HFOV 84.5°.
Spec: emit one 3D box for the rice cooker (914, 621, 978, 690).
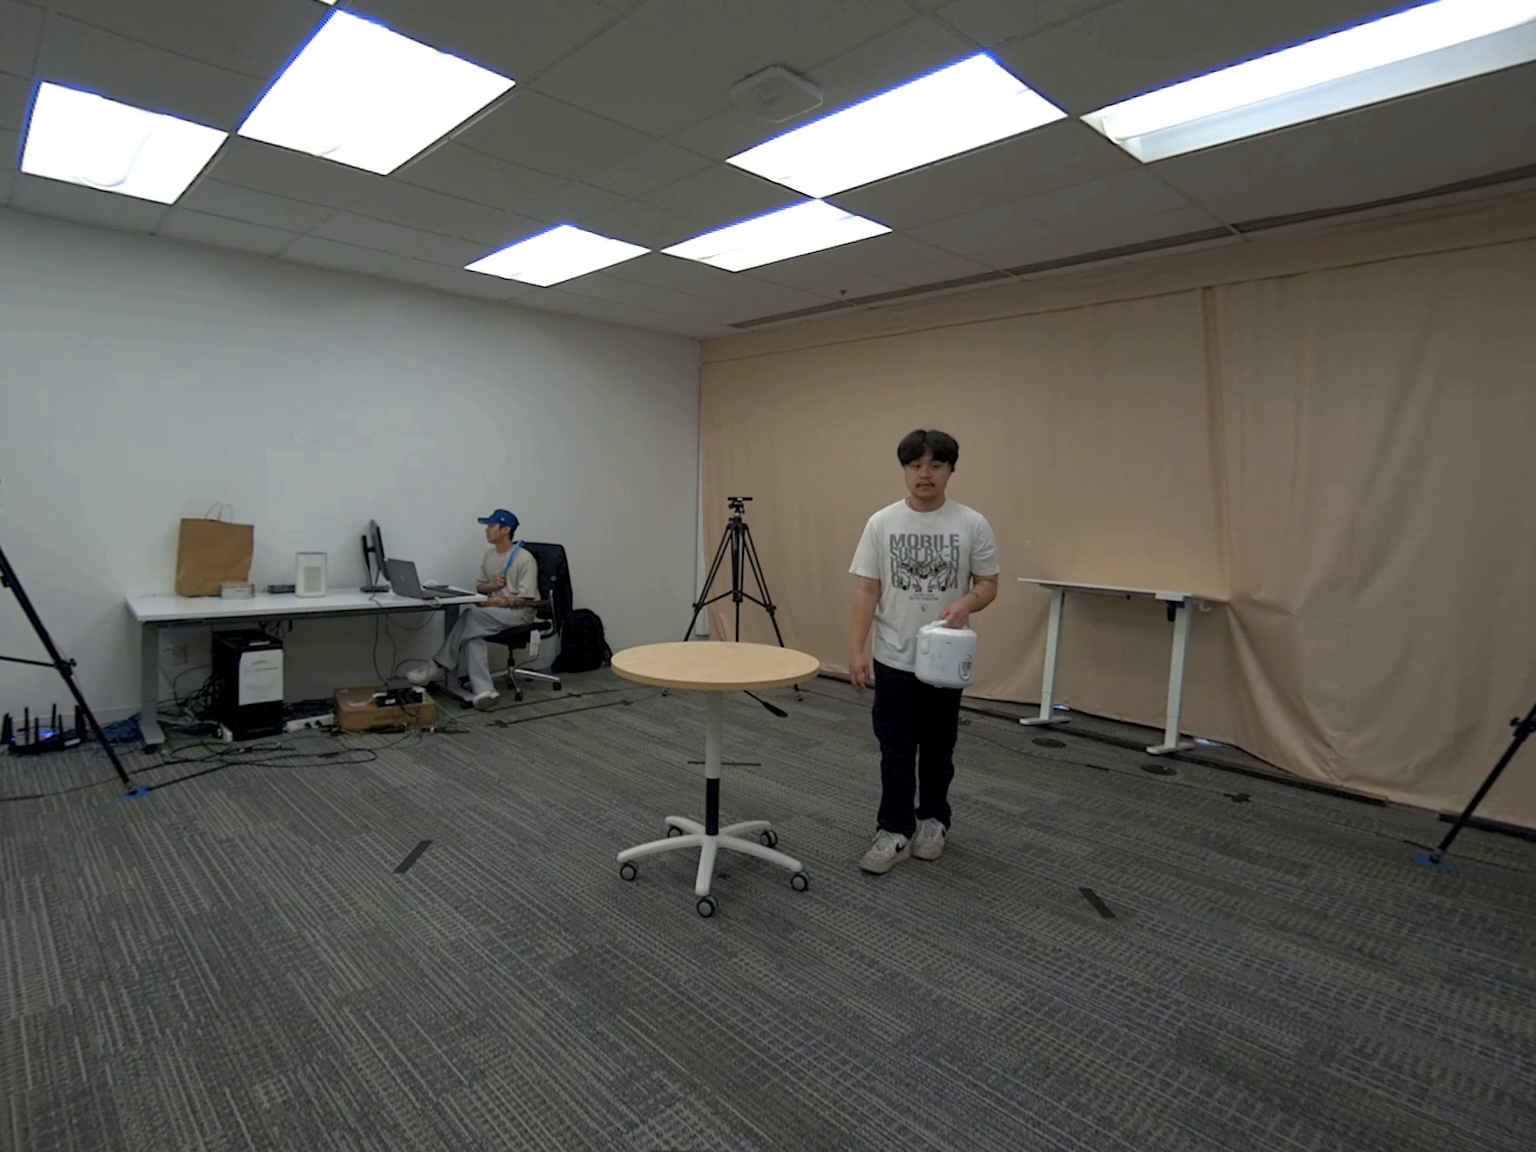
[{"bbox_3d":[0.635,0.274,3.021,0.216,0.232,0.222,3,2,-28],"label":"rice cooker"}]
